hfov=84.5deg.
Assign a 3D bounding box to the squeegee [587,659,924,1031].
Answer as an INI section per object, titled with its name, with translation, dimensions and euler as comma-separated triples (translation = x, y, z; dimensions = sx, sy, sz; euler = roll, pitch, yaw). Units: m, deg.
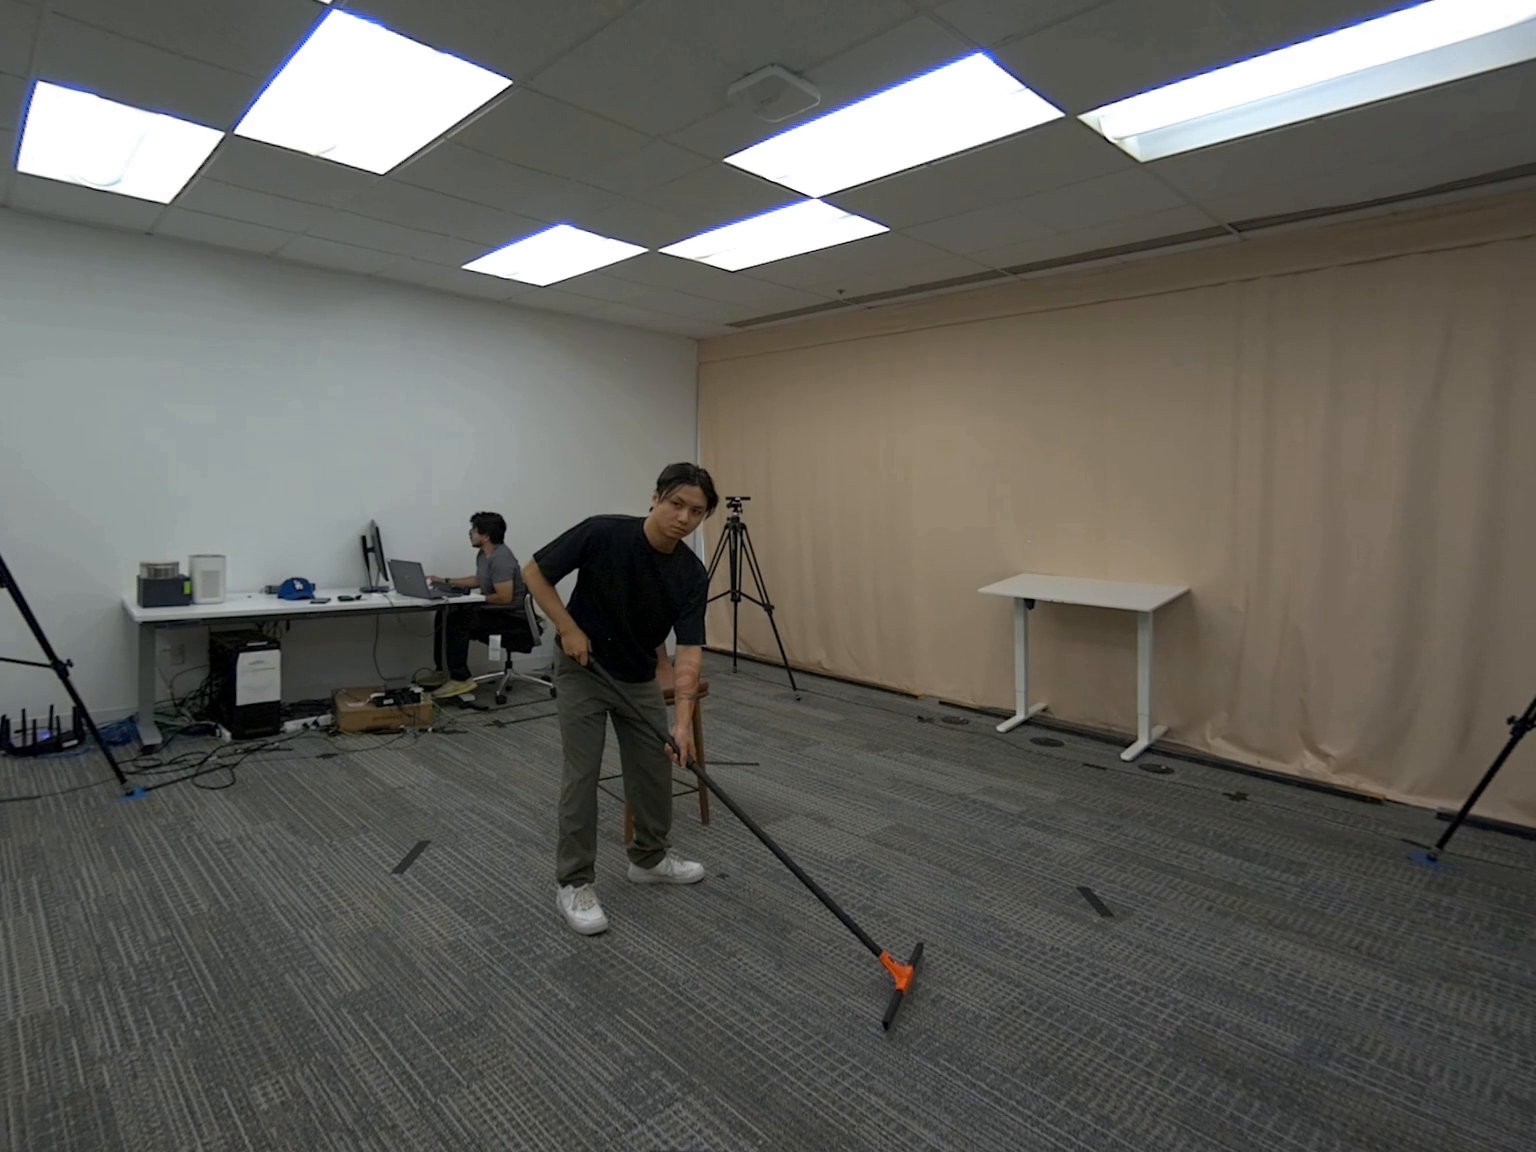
[squeegee]
translation = -0.167, 0.659, 2.611
dimensions = 1.566, 0.053, 0.430
euler = 41, 17, 17
